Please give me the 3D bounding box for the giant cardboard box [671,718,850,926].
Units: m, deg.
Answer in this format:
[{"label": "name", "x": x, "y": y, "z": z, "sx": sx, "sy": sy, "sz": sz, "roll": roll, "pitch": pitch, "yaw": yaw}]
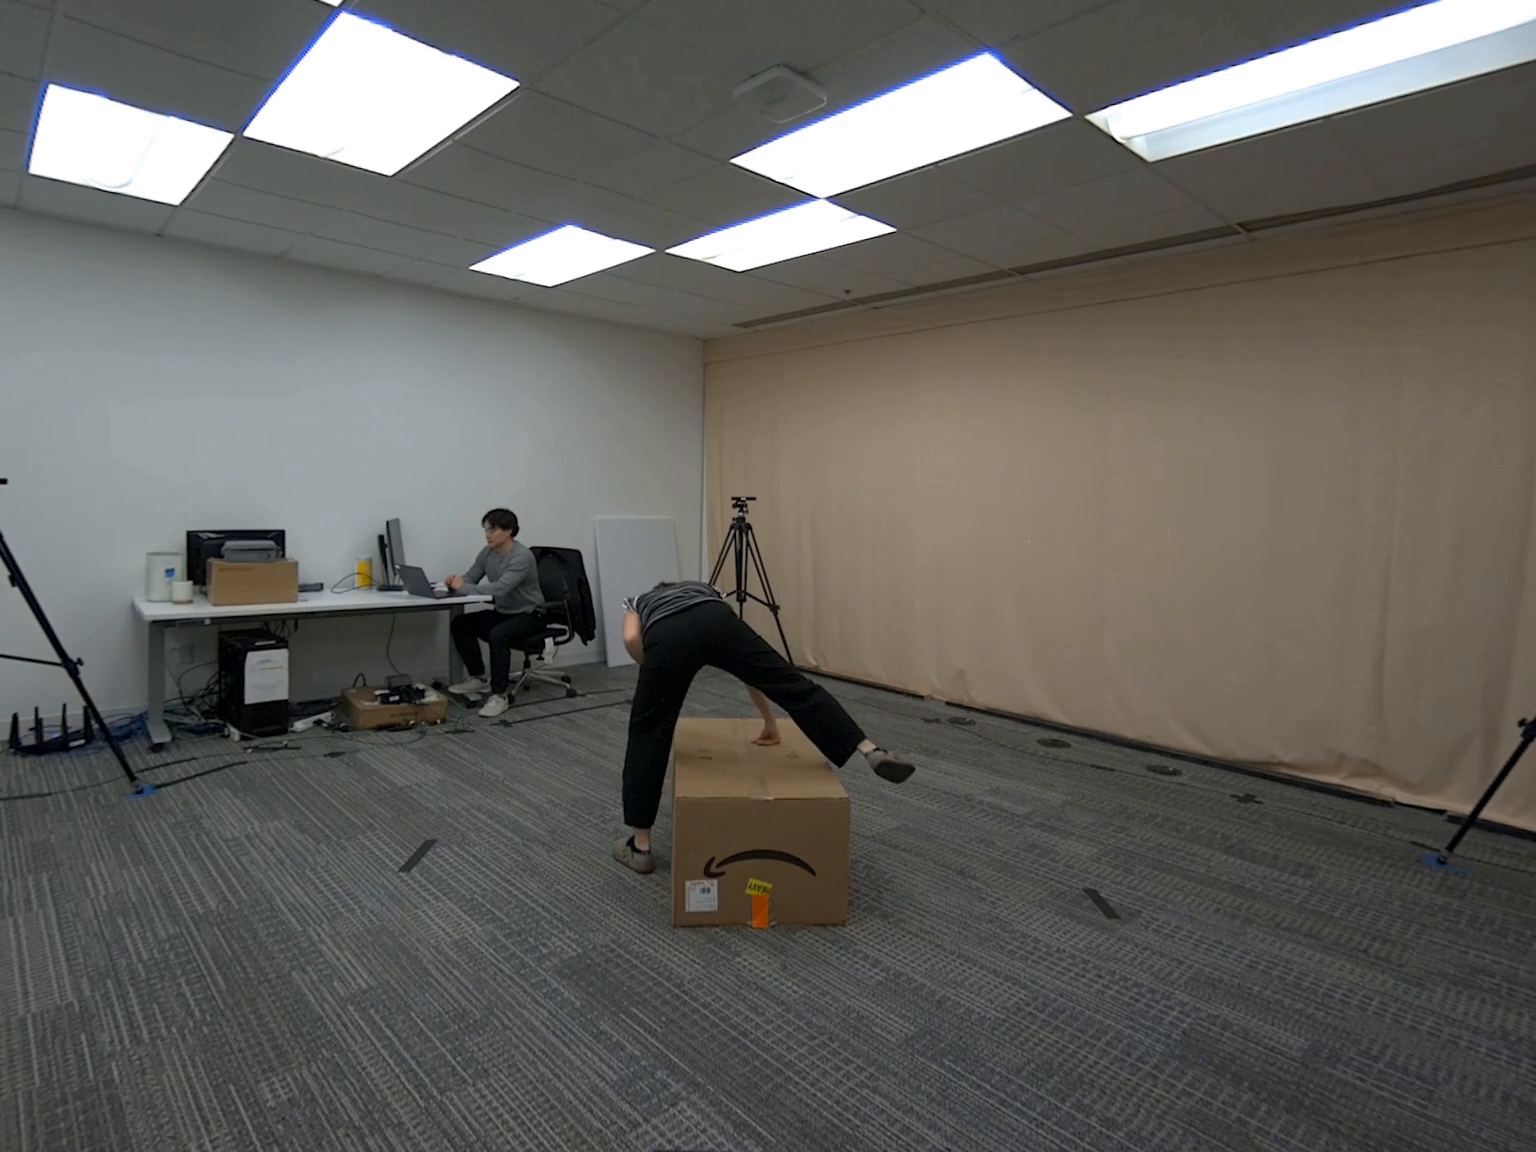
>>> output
[{"label": "giant cardboard box", "x": -0.087, "y": 0.891, "z": 3.233, "sx": 0.575, "sy": 0.425, "sz": 1.032, "roll": 1, "pitch": 4, "yaw": -6}]
